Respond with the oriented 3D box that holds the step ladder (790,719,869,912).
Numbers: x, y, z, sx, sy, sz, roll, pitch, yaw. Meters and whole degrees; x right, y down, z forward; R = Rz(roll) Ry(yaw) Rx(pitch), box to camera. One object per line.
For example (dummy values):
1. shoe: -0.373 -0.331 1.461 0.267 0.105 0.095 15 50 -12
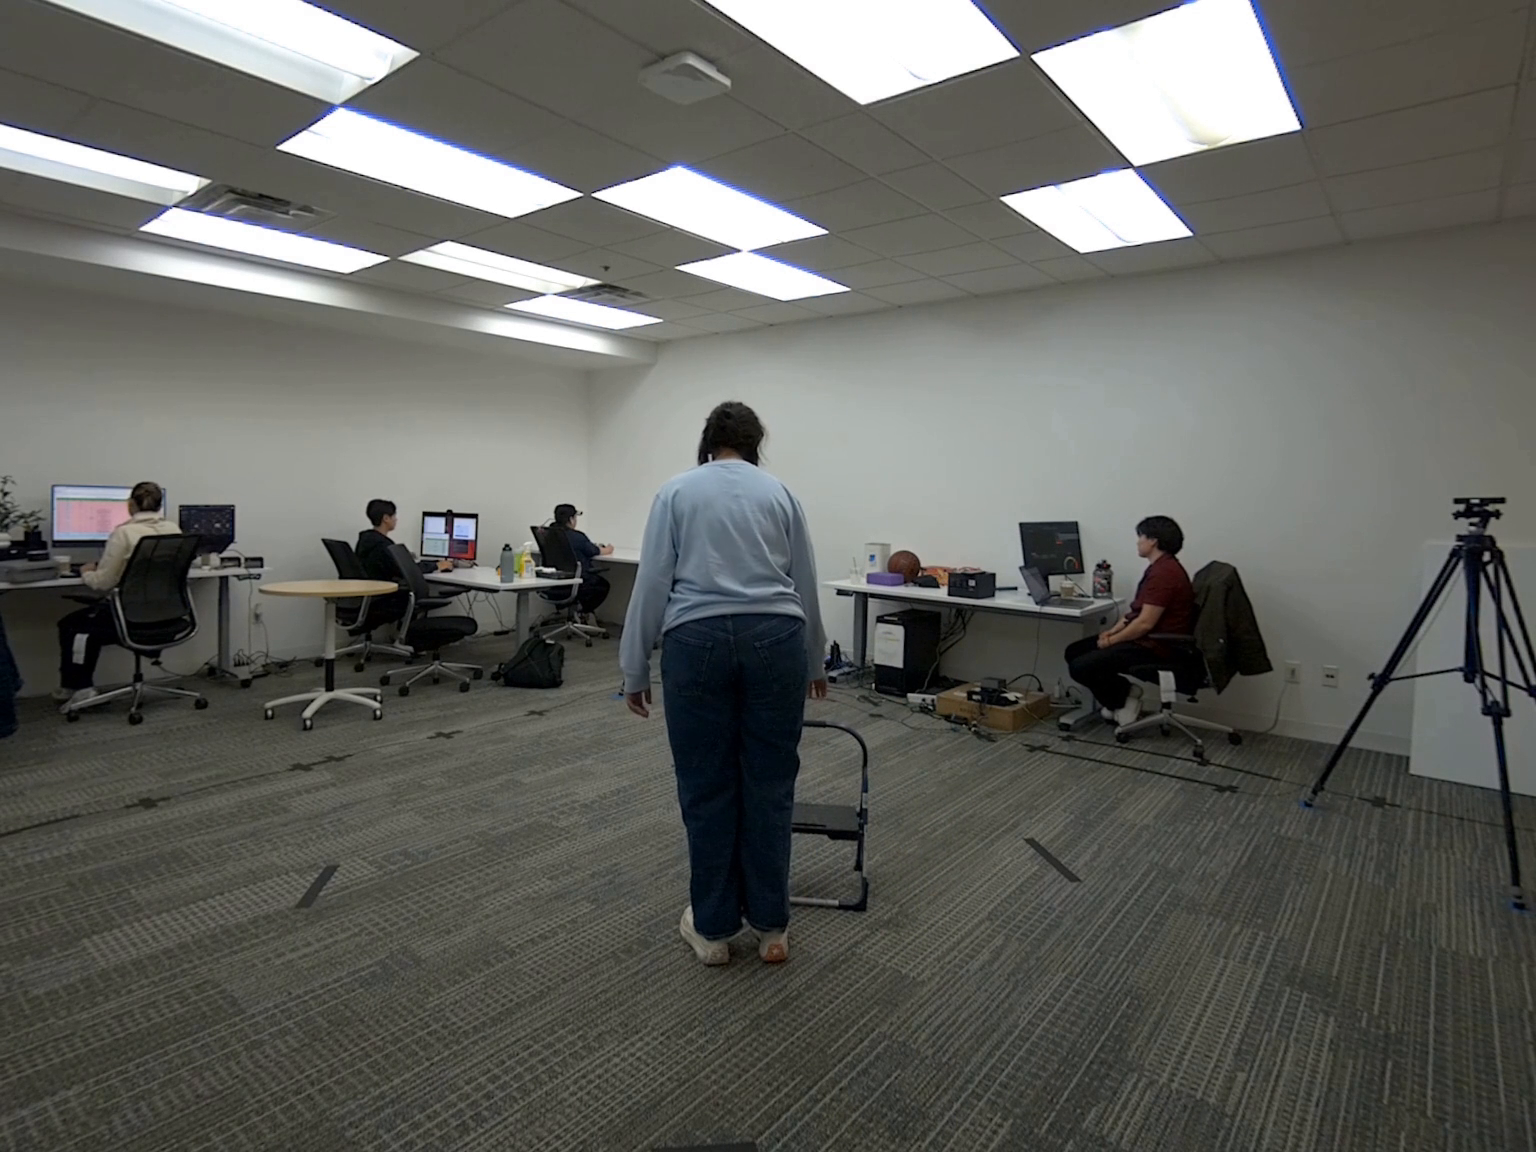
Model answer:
1. step ladder: 0.134 0.784 2.992 0.433 0.604 0.348 1 3 5
